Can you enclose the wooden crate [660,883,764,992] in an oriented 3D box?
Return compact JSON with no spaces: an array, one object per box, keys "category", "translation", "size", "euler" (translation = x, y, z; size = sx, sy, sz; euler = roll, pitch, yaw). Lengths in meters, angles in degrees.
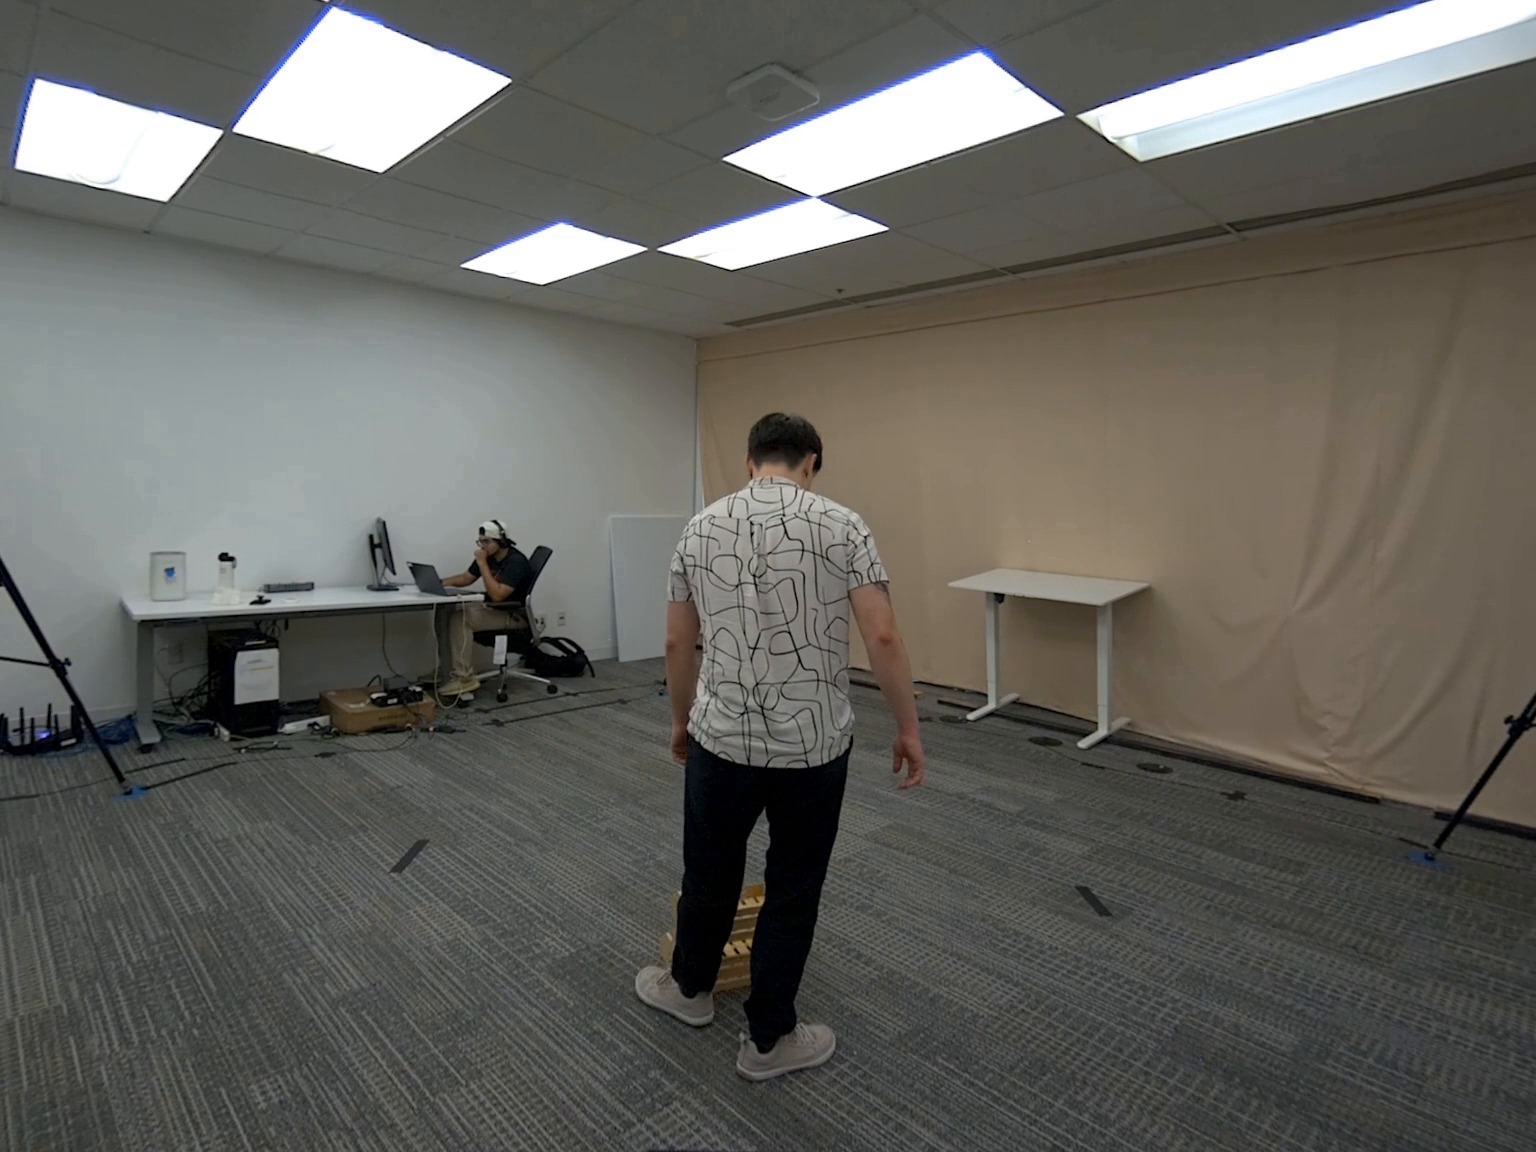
[{"category":"wooden crate","translation":[-0.130,1.034,2.469],"size":[0.319,0.272,0.308],"euler":[0,5,-23]}]
